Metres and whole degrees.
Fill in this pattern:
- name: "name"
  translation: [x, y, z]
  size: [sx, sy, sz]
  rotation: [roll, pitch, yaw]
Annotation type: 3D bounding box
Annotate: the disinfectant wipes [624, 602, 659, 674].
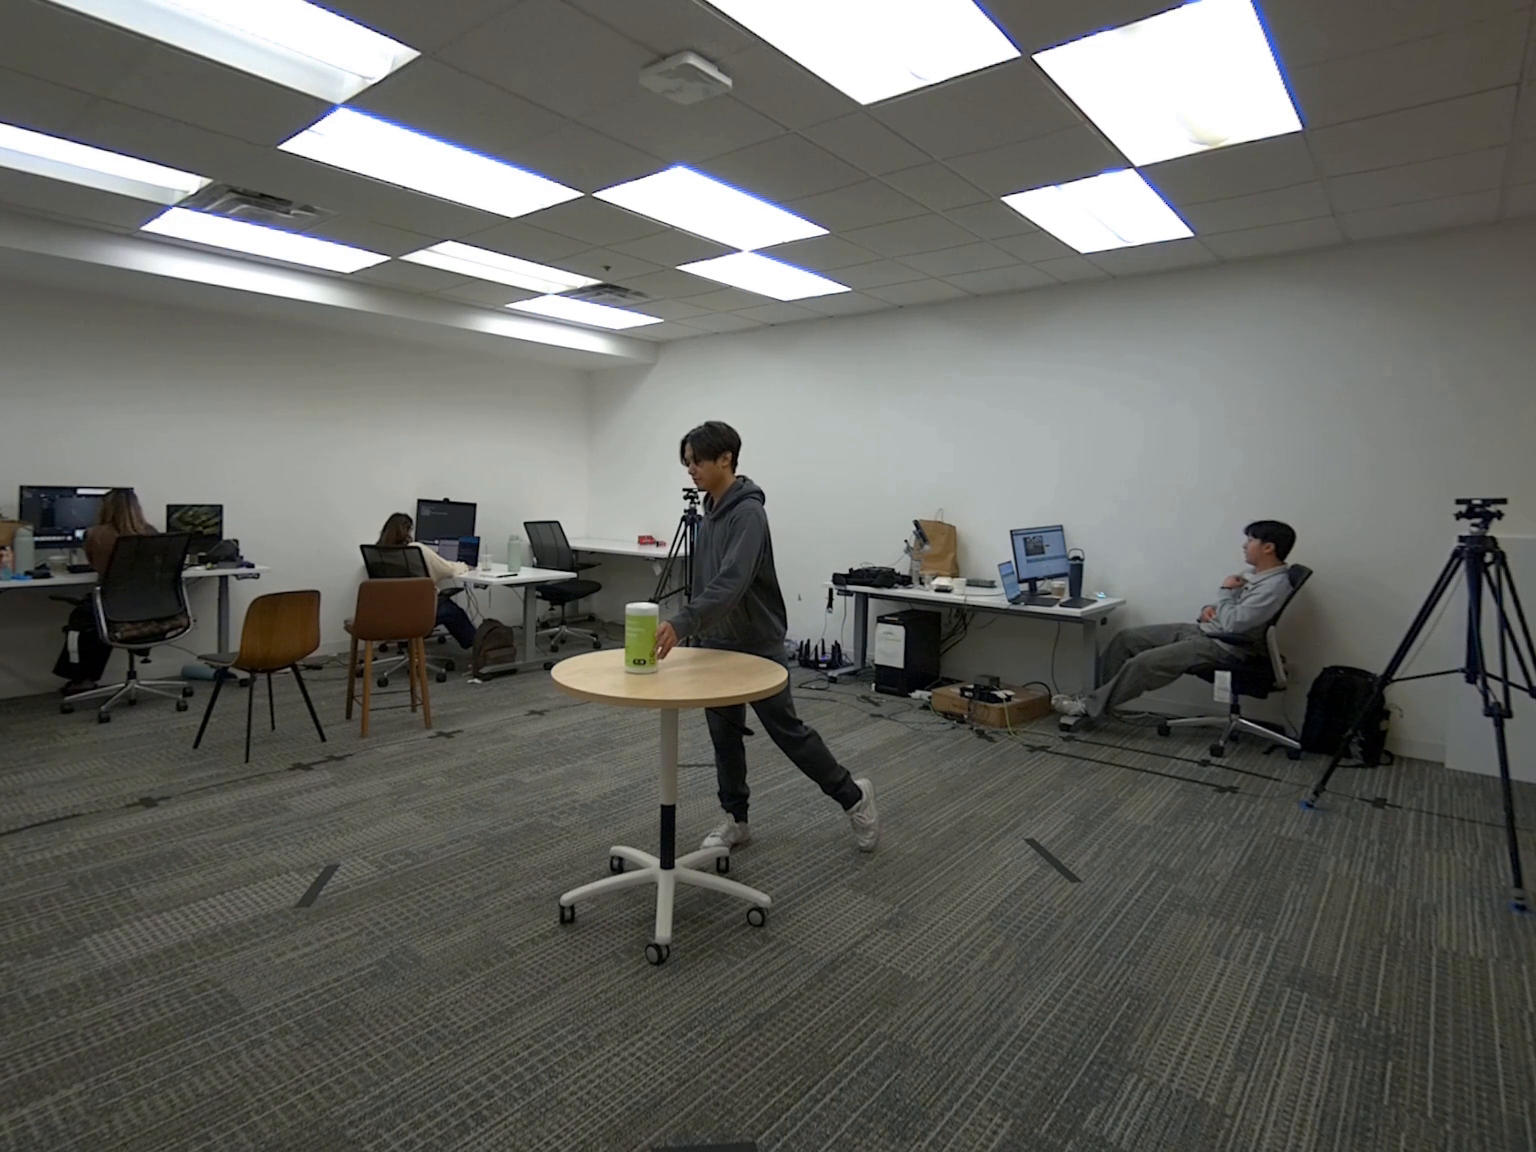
- name: "disinfectant wipes"
  translation: [-0.412, 0.199, 2.742]
  size: [0.118, 0.216, 0.118]
  rotation: [0, 5, -2]
